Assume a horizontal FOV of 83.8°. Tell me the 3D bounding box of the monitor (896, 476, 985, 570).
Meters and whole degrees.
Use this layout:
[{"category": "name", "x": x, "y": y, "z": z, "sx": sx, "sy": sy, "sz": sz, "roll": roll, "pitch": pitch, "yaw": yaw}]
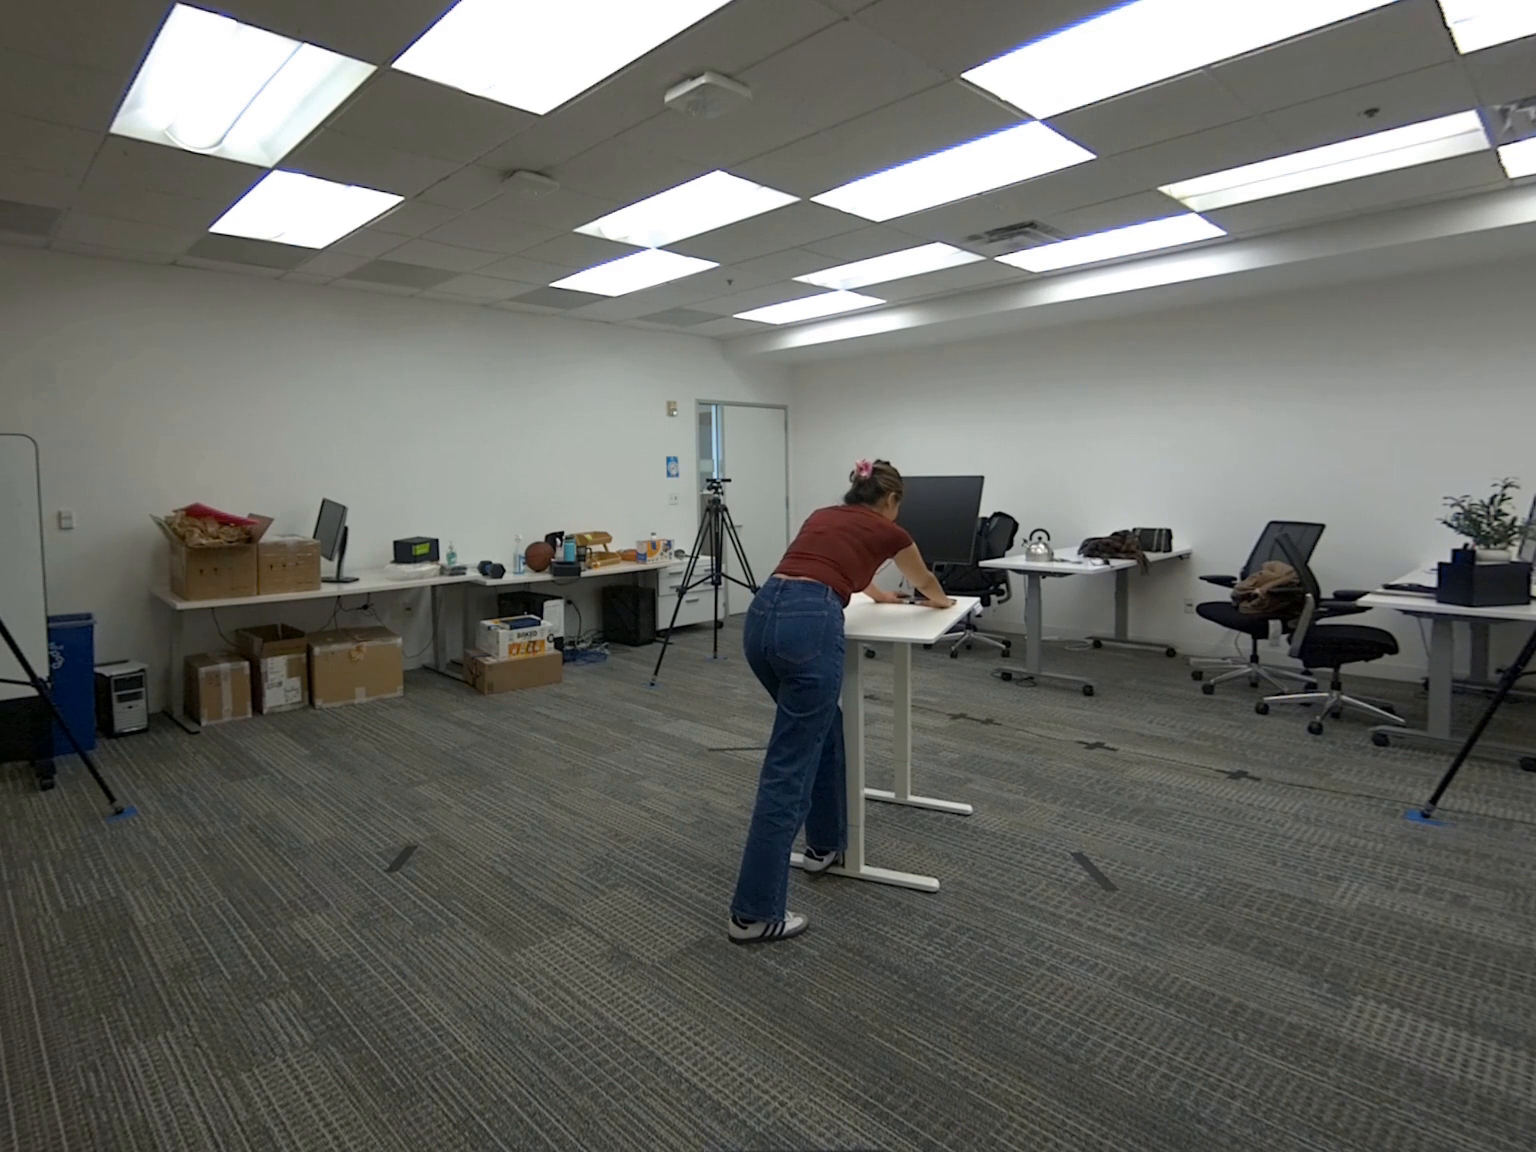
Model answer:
[{"category": "monitor", "x": 0.624, "y": -0.149, "z": 3.497, "sx": 0.555, "sy": 0.522, "sz": 0.182, "roll": 4, "pitch": 3, "yaw": 39}]
